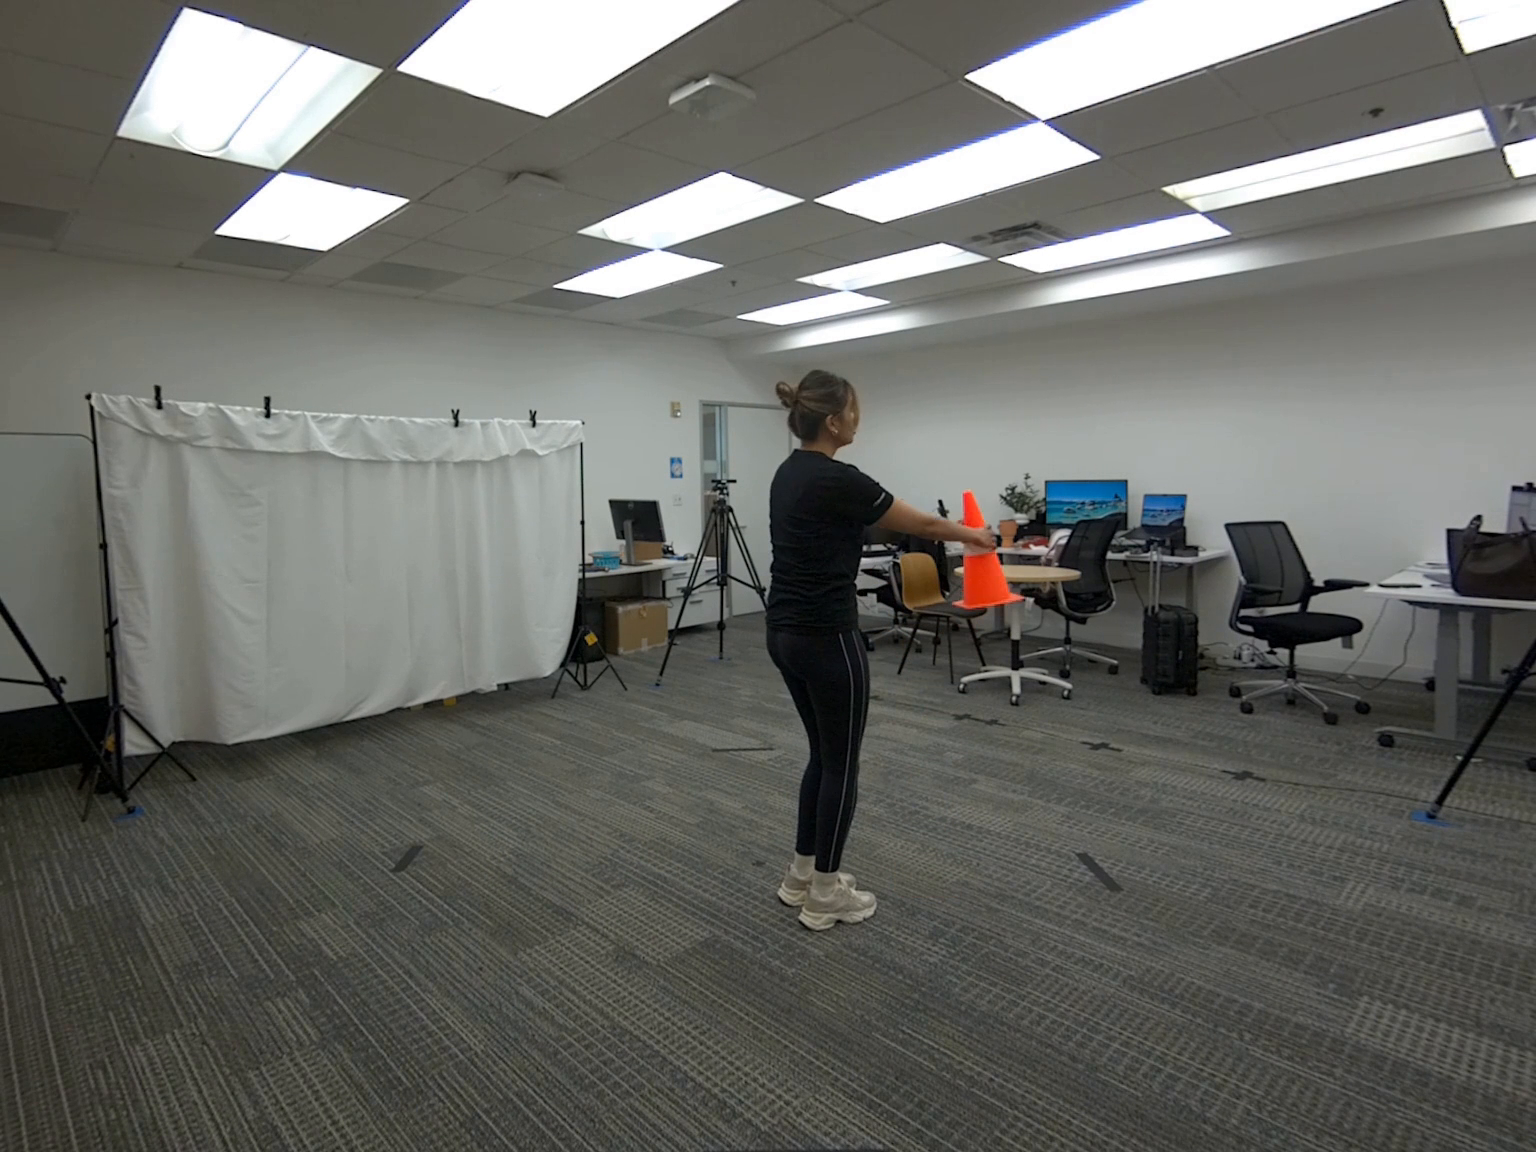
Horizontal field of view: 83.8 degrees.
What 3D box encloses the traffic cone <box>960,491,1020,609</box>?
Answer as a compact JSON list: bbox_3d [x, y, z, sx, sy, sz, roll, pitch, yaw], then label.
[{"bbox_3d":[0.723,-0.088,2.897,0.199,0.381,0.210,-15,6,-32],"label":"traffic cone"}]
